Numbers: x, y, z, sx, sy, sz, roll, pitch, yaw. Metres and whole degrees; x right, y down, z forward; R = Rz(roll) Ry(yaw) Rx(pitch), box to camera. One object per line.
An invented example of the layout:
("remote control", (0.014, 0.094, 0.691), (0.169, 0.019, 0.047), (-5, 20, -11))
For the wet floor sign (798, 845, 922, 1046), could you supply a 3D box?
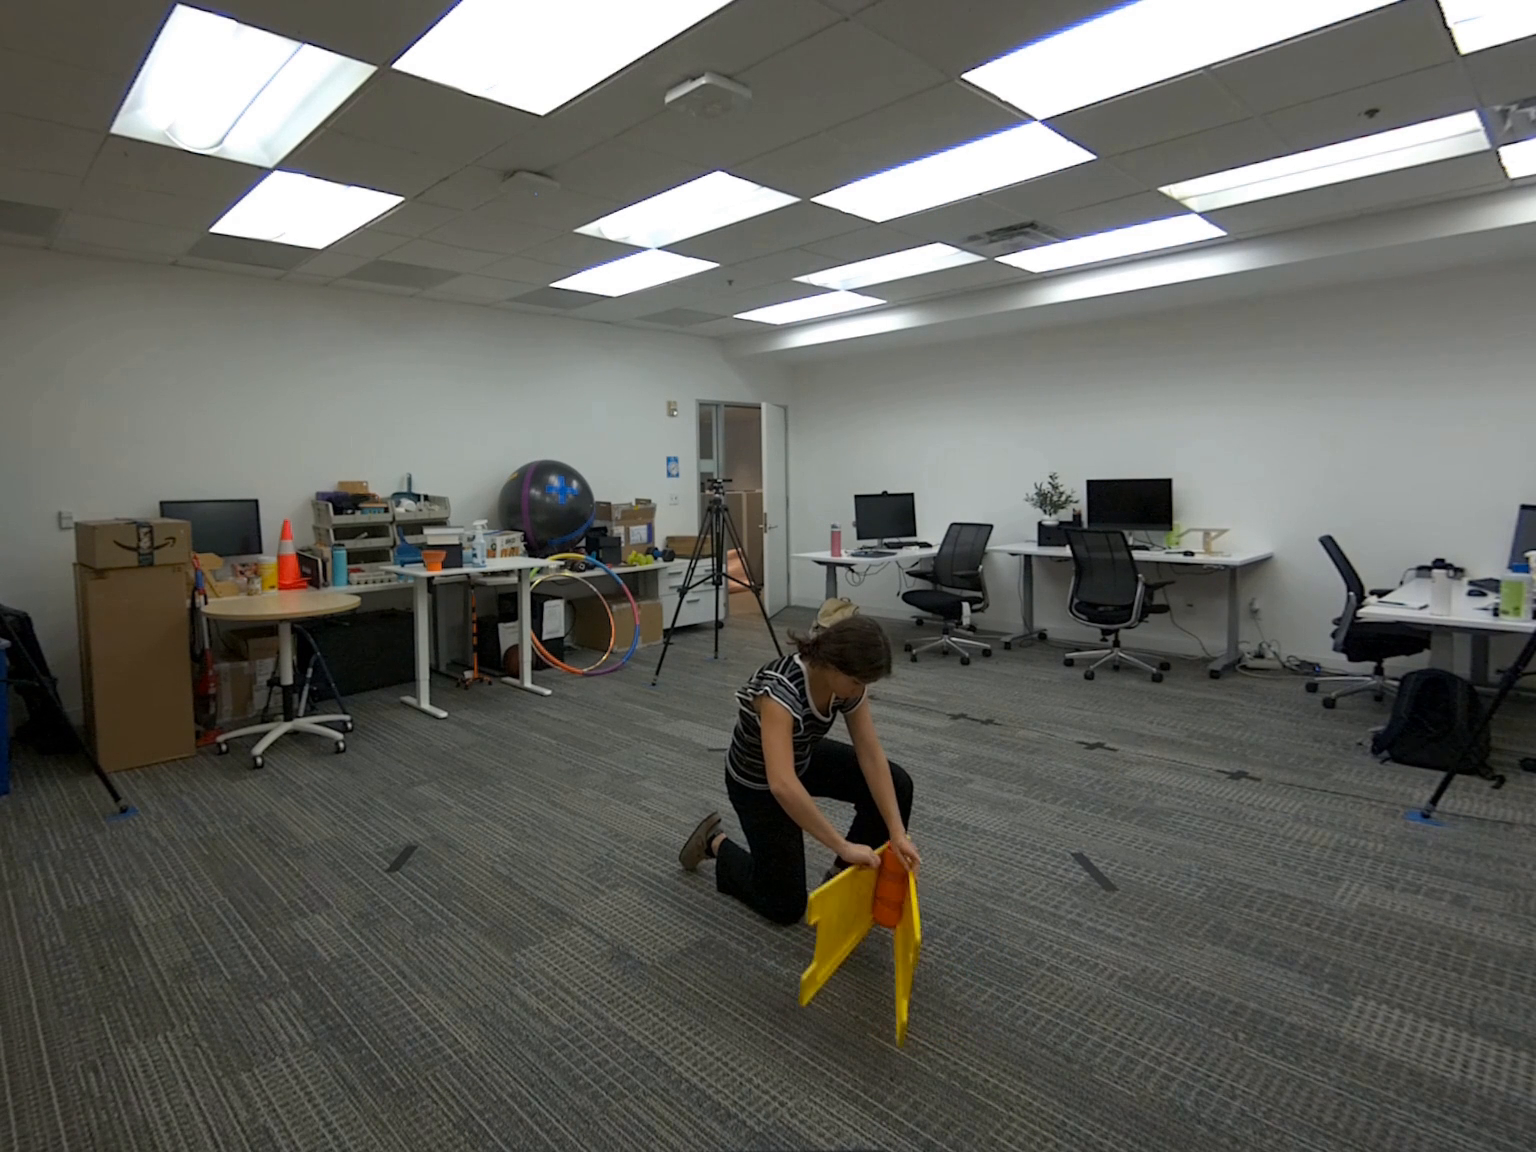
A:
("wet floor sign", (0.313, 0.925, 2.323), (0.295, 0.281, 0.637), (10, 8, 17))
